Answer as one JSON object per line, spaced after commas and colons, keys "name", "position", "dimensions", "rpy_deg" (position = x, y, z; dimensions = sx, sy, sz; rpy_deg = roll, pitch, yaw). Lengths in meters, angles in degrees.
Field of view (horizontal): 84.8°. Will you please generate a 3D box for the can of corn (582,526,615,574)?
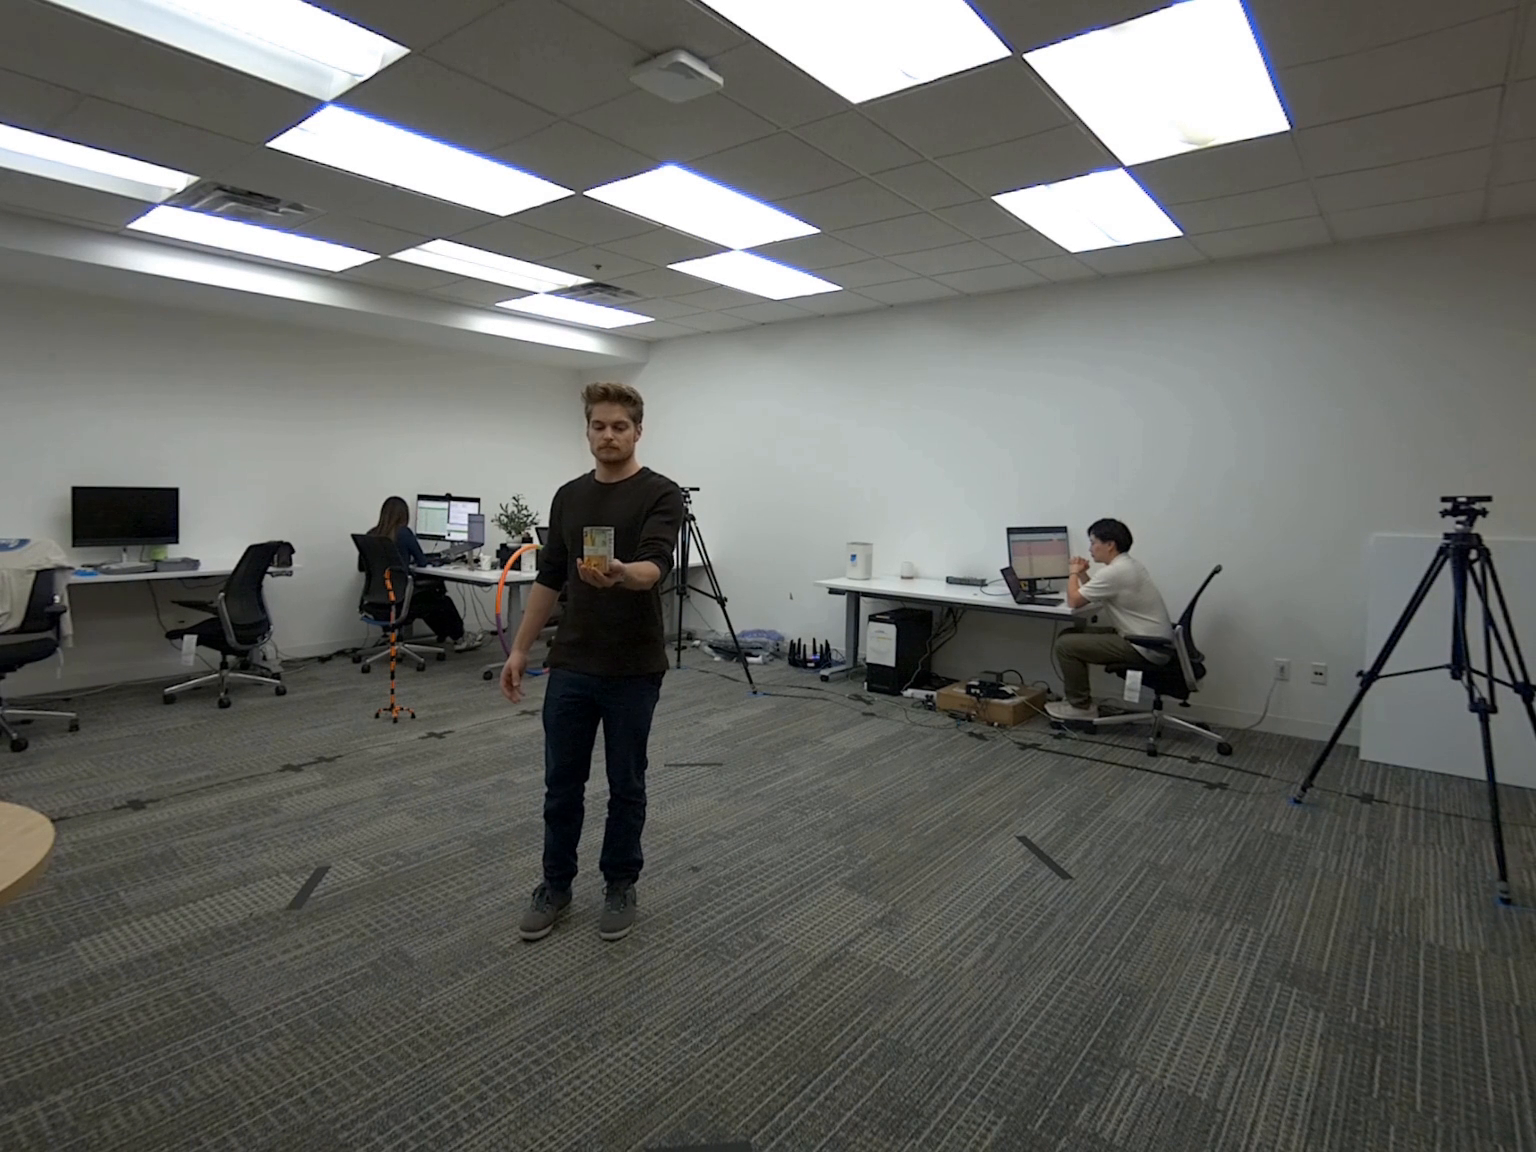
{"name": "can of corn", "position": [-0.443, -0.070, 2.143], "dimensions": [0.074, 0.111, 0.074], "rpy_deg": [1, 4, -2]}
